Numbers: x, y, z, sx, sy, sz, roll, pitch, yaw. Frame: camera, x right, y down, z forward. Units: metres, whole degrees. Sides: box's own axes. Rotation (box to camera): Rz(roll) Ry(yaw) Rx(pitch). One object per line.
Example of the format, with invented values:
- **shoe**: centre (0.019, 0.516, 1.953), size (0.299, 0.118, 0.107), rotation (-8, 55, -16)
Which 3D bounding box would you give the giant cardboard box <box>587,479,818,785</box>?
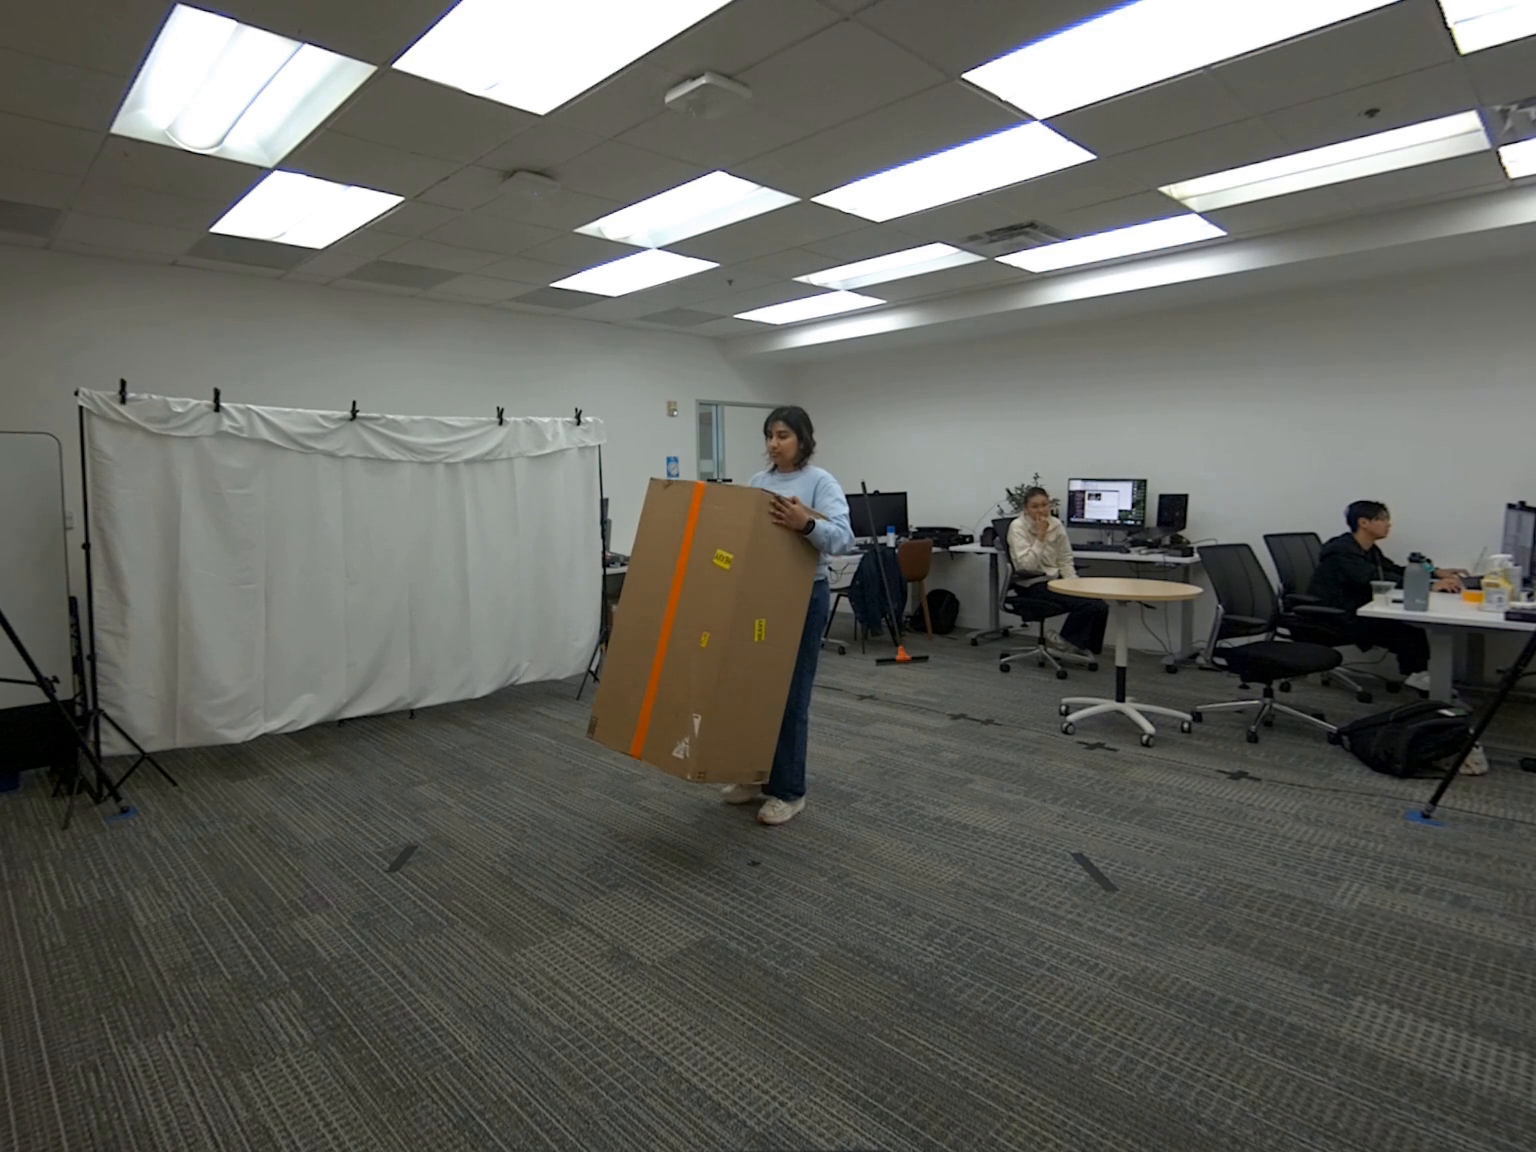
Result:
- **giant cardboard box**: centre (-0.239, 0.197, 3.227), size (0.596, 1.030, 0.411), rotation (9, -7, 41)
